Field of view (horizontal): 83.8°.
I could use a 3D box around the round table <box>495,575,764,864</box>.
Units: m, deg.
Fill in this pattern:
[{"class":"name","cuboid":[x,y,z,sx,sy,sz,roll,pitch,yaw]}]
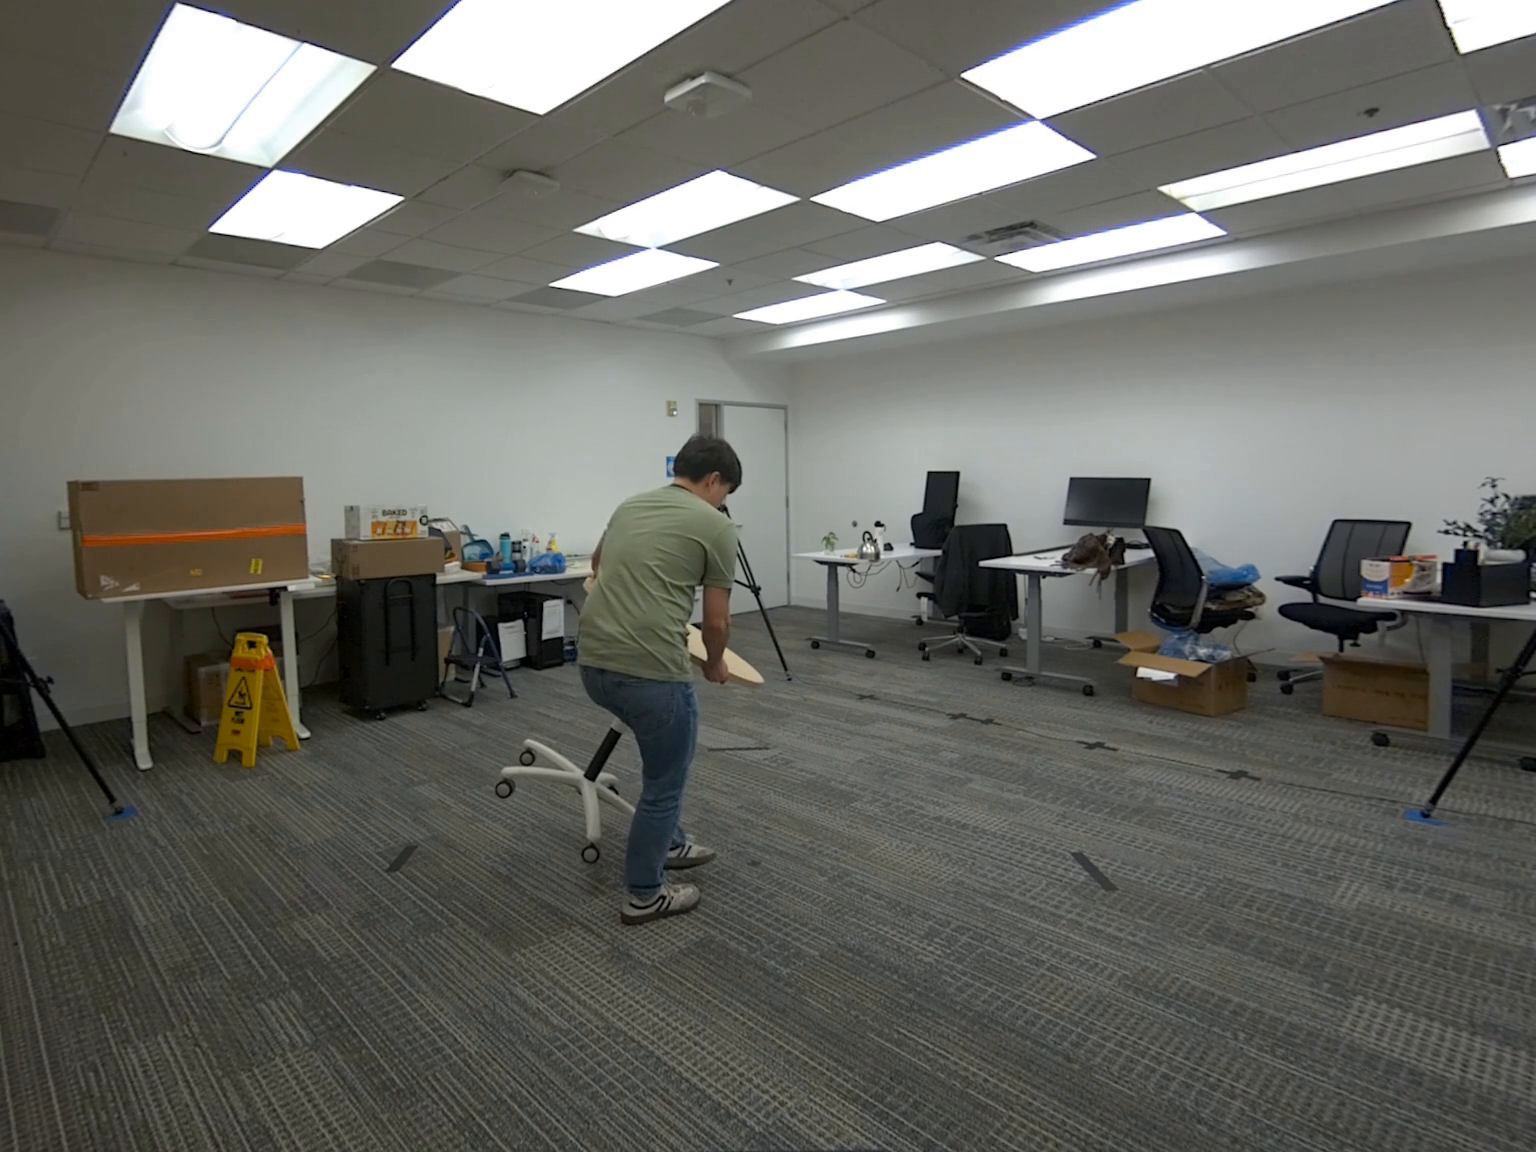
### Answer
[{"class":"round table","cuboid":[-0.547,0.539,3.212,0.763,0.794,0.765,29,0,-2]}]
